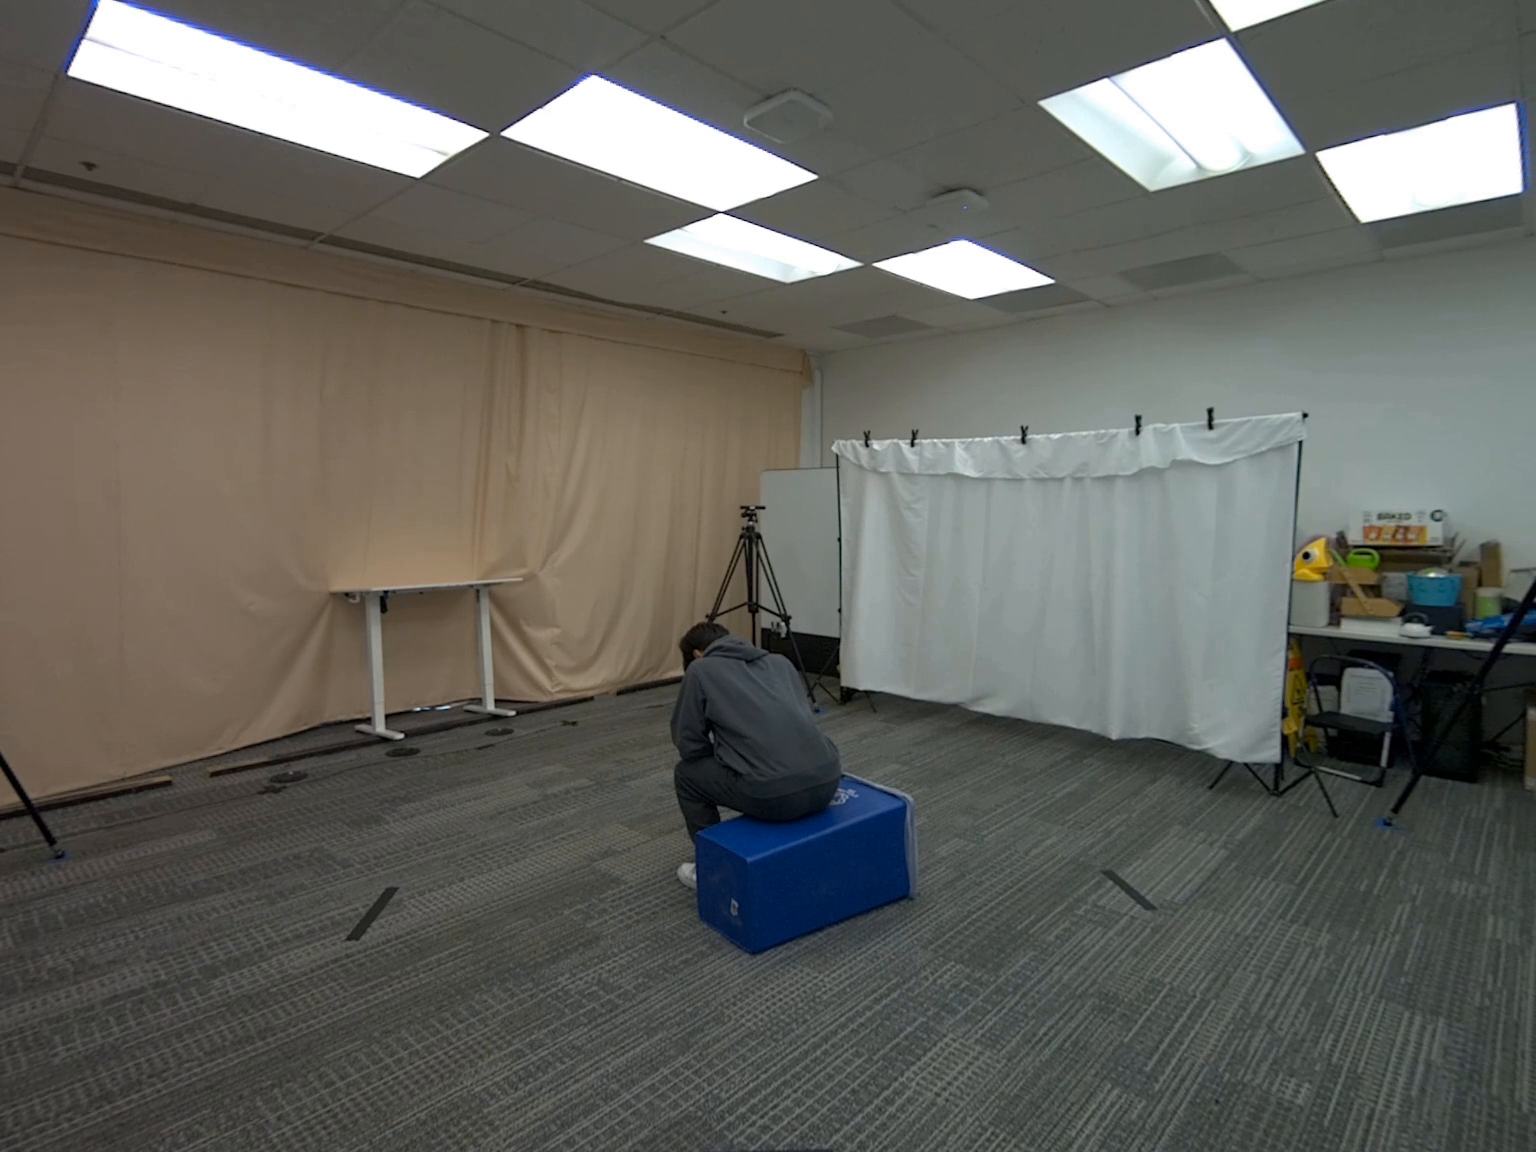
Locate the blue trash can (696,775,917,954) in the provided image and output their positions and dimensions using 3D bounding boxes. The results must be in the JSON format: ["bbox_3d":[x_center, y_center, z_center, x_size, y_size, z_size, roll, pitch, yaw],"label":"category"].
[{"bbox_3d":[0.143,0.982,2.901,0.693,0.376,0.386,-8,8,-37],"label":"blue trash can"}]
